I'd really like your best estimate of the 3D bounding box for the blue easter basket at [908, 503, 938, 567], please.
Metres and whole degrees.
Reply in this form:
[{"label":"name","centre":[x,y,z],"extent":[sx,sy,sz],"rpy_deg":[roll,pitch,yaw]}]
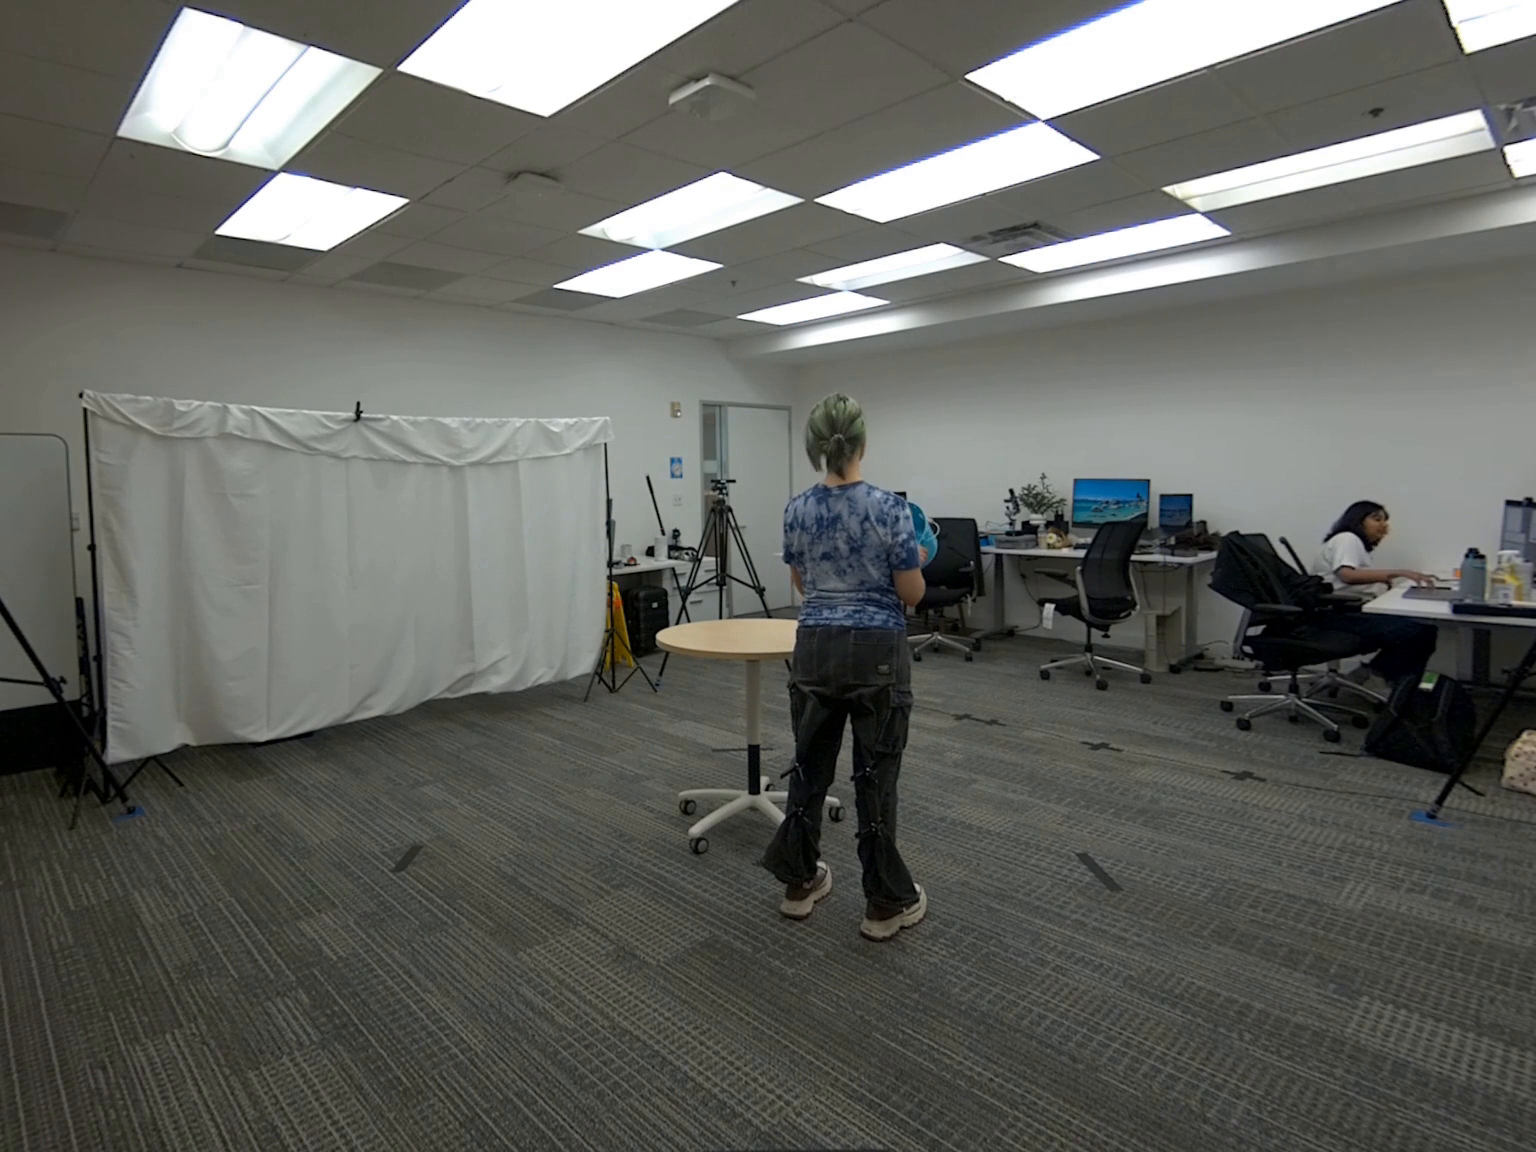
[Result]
[{"label":"blue easter basket","centre":[0.497,-0.124,3.019],"extent":[0.251,0.246,0.150],"rpy_deg":[3,-24,39]}]
